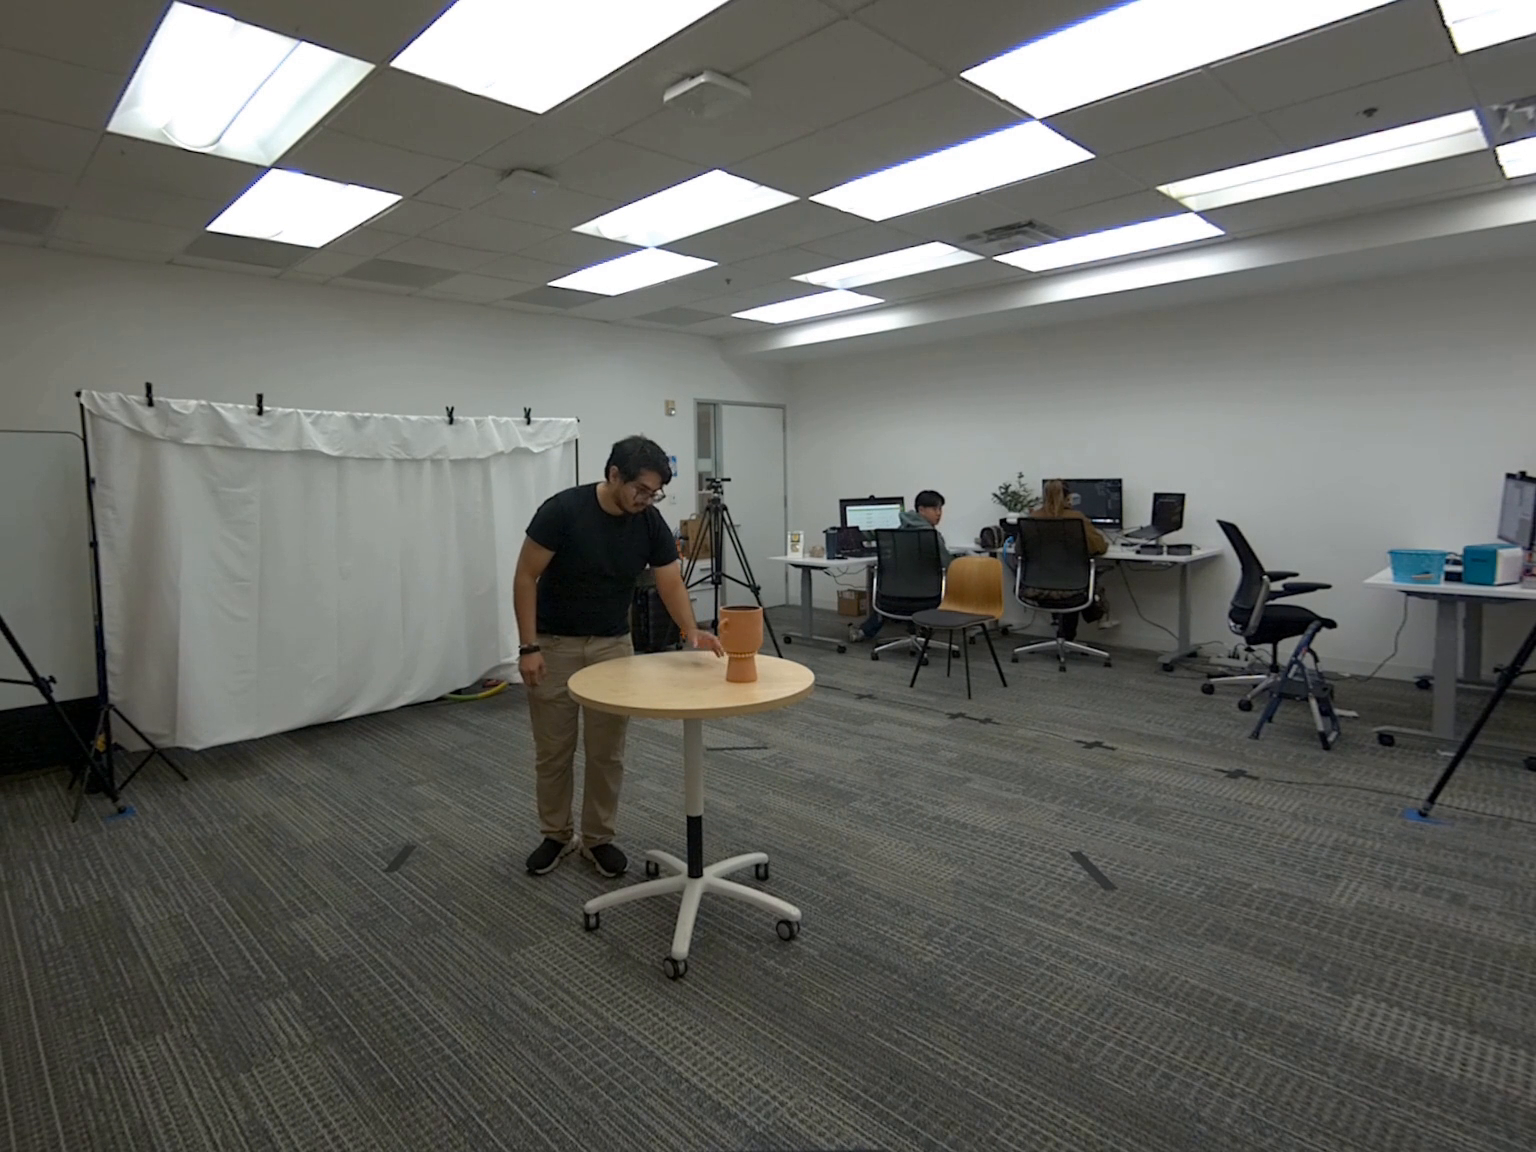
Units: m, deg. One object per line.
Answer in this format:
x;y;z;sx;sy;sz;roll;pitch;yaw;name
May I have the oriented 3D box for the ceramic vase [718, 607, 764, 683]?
-0.072;0.205;2.617;0.157;0.219;0.136;-2;5;-11;ceramic vase
